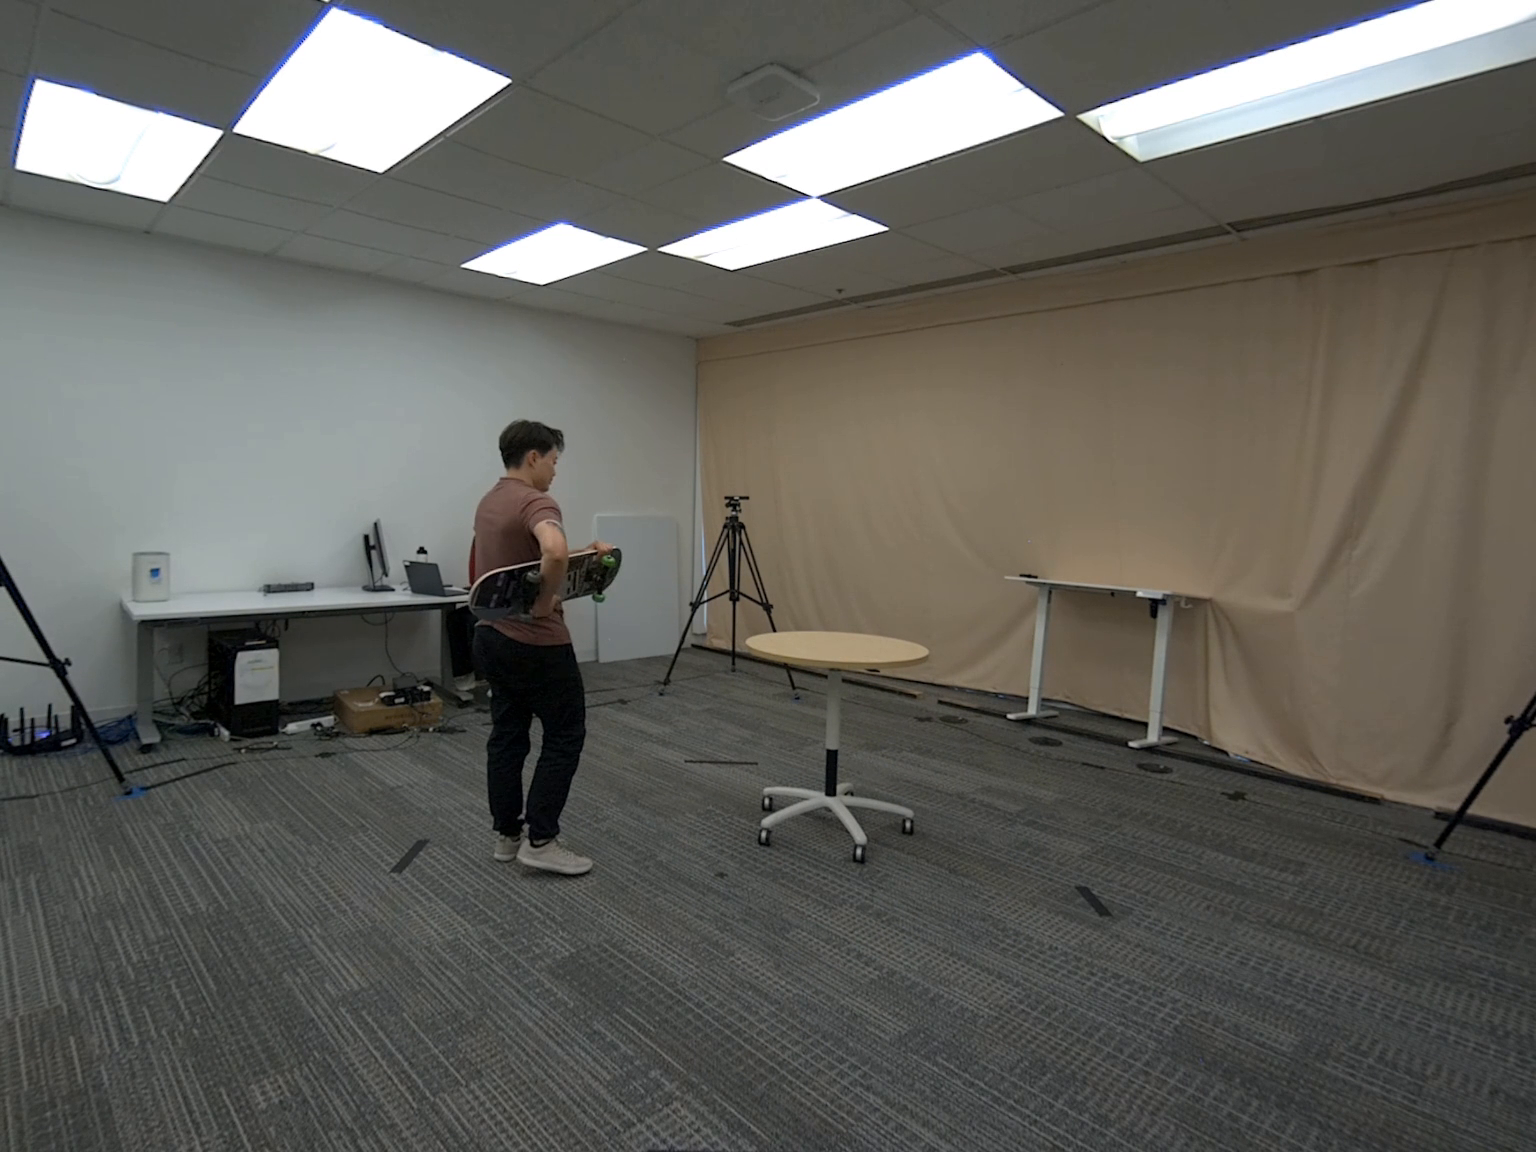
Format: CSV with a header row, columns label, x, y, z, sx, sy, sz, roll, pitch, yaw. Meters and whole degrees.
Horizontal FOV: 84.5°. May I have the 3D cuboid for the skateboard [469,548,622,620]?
label,x,y,z,sx,sy,sz,roll,pitch,yaw
skateboard,-0.758,0.023,3.071,0.113,0.192,0.773,26,20,23
